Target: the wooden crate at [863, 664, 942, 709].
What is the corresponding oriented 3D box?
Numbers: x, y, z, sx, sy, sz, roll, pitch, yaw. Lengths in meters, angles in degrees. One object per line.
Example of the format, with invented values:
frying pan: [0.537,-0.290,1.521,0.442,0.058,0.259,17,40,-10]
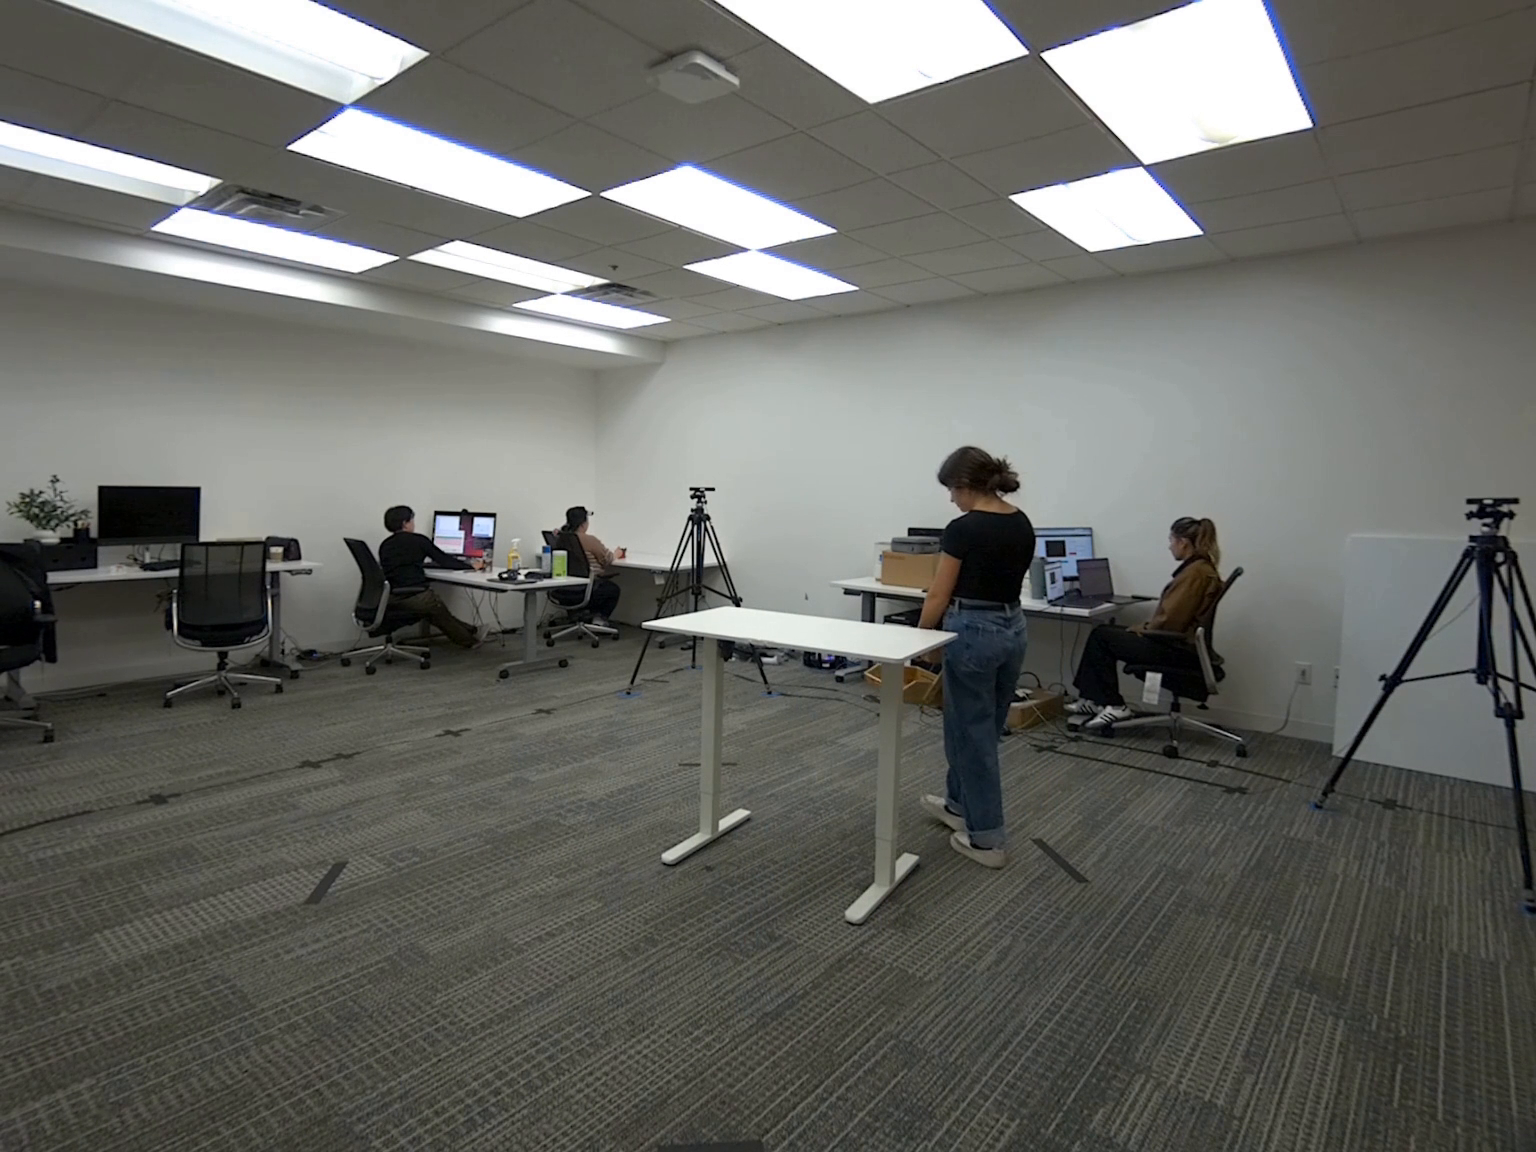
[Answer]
wooden crate: [0.604,0.359,3.484,0.295,0.273,0.332,8,4,-20]
